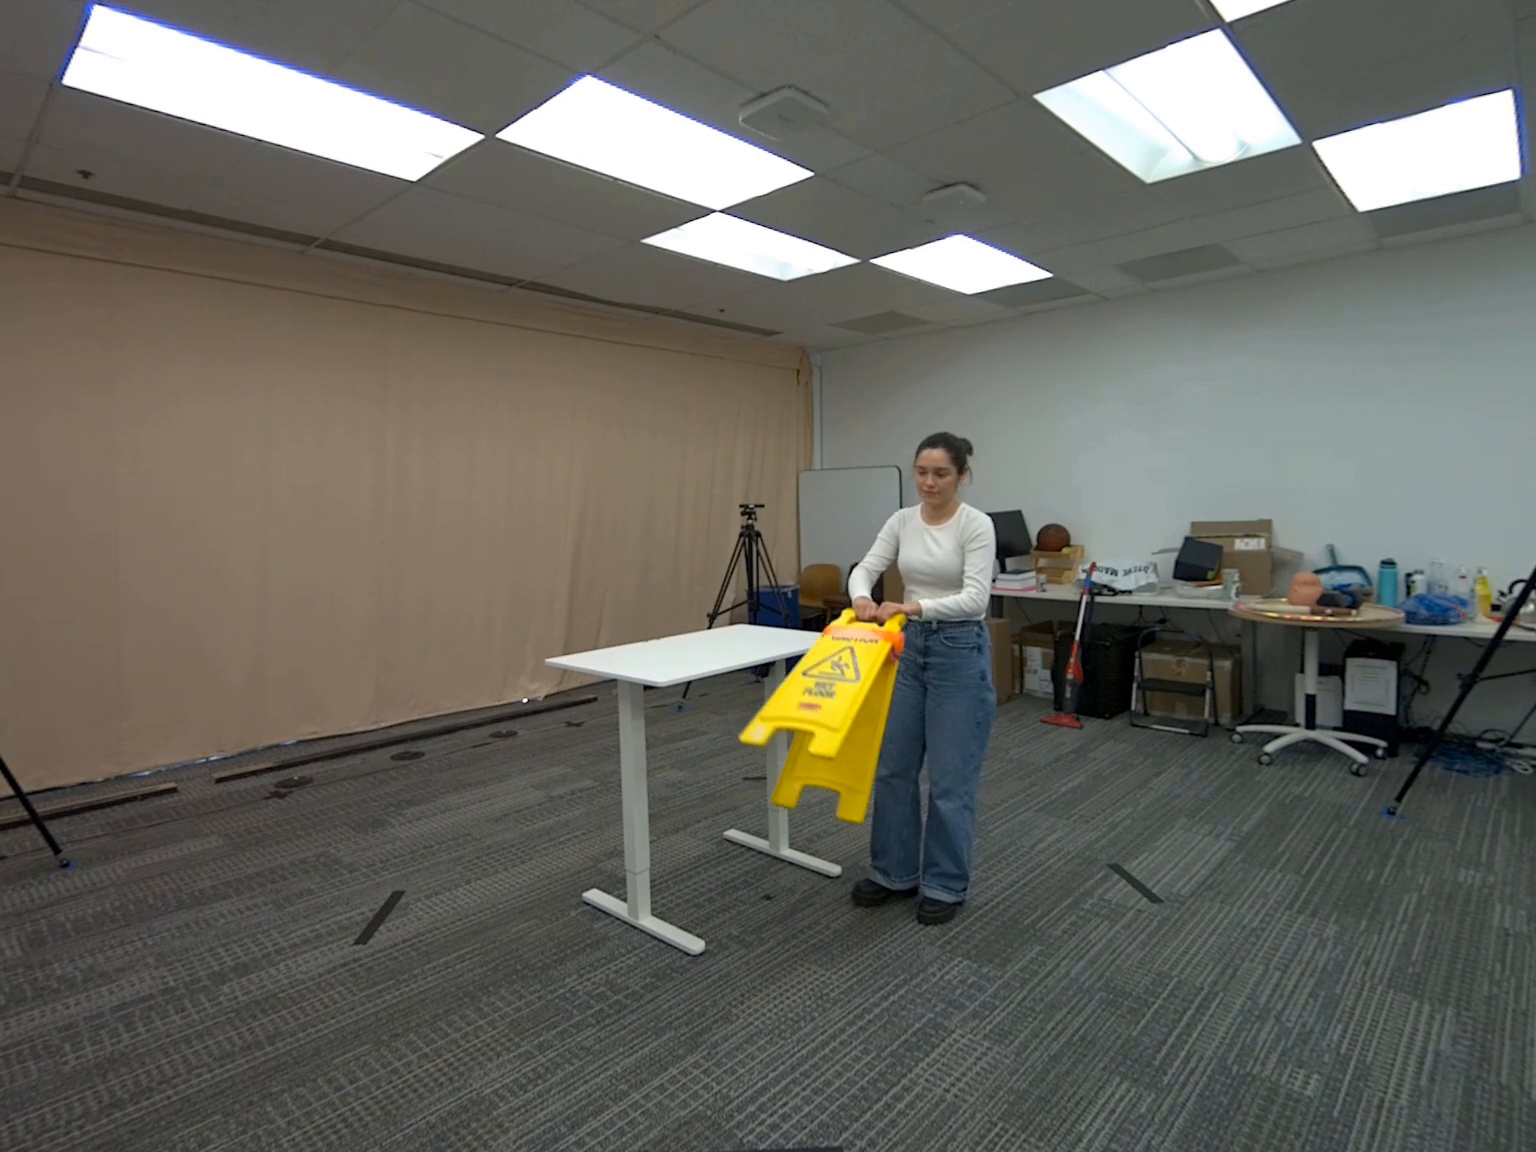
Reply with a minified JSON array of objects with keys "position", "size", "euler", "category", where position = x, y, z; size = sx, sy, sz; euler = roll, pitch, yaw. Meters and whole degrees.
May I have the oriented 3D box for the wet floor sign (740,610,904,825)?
[{"position":[0.222,0.326,2.427],"size":[0.290,0.282,0.645],"euler":[3,44,30],"category":"wet floor sign"}]
